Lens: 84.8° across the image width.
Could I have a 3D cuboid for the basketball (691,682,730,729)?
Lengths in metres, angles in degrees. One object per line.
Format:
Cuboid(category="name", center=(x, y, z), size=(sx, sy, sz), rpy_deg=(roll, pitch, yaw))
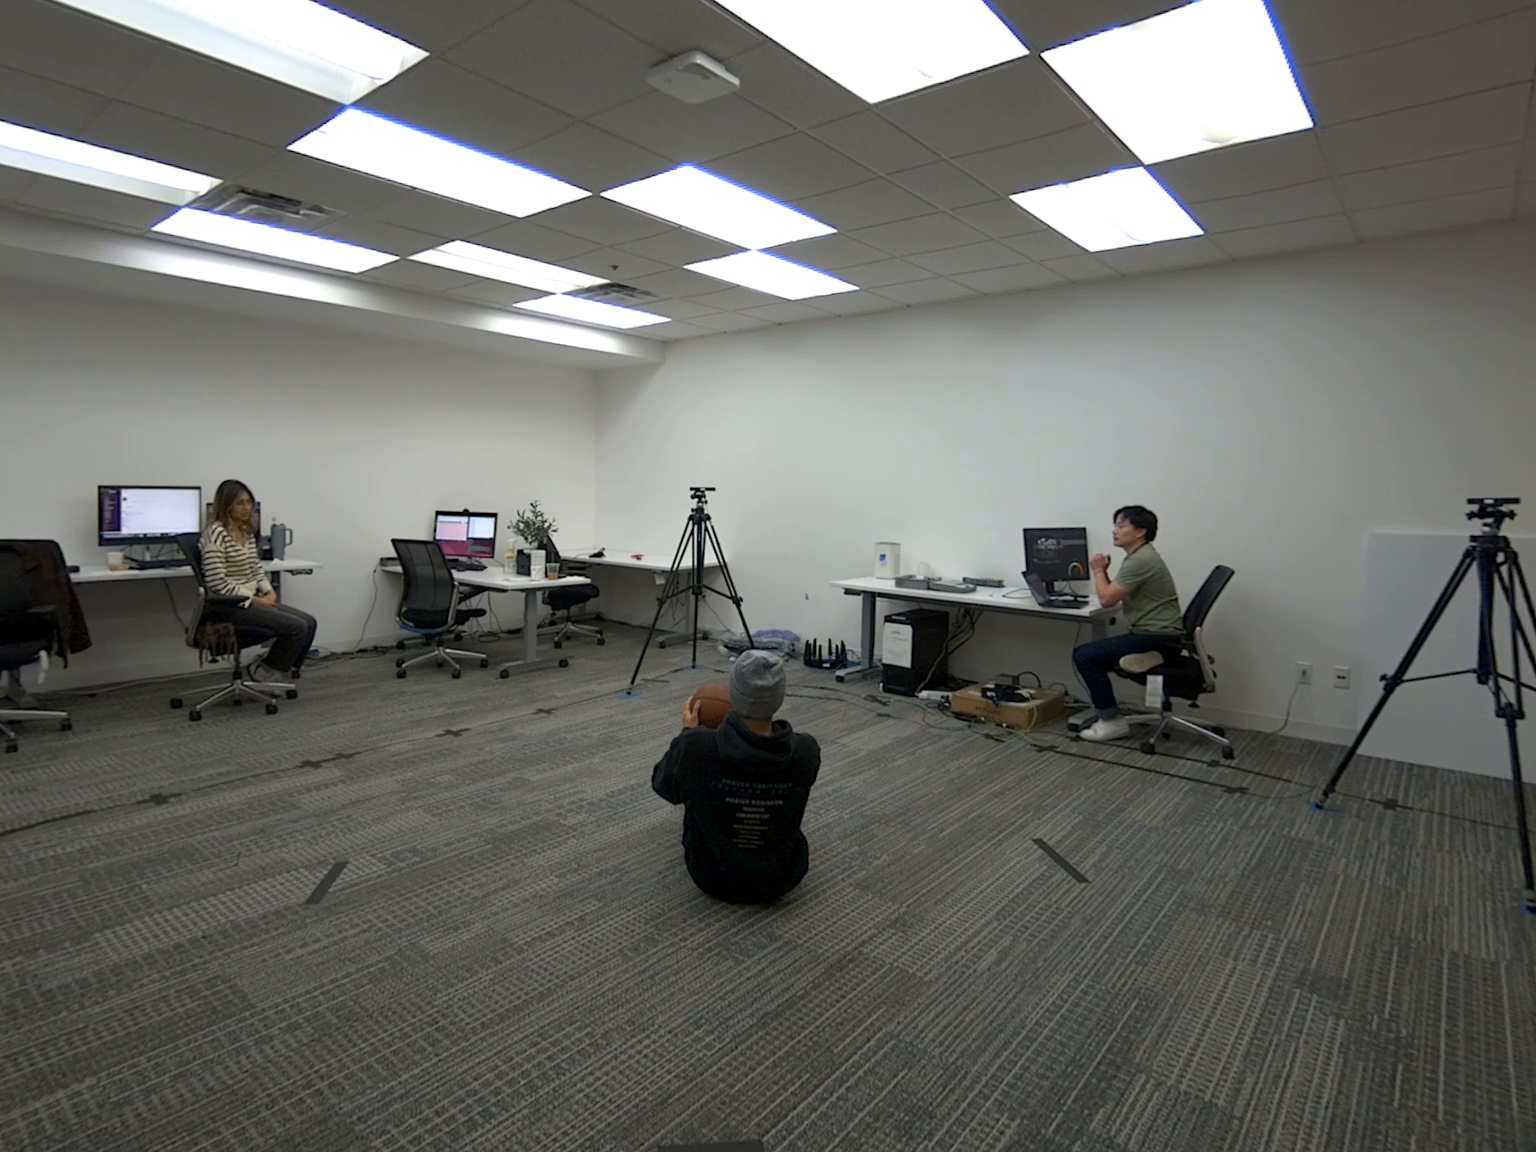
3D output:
Cuboid(category="basketball", center=(-0.187, 0.517, 3.251), size=(0.235, 0.235, 0.237), rpy_deg=(1, 4, -2))
